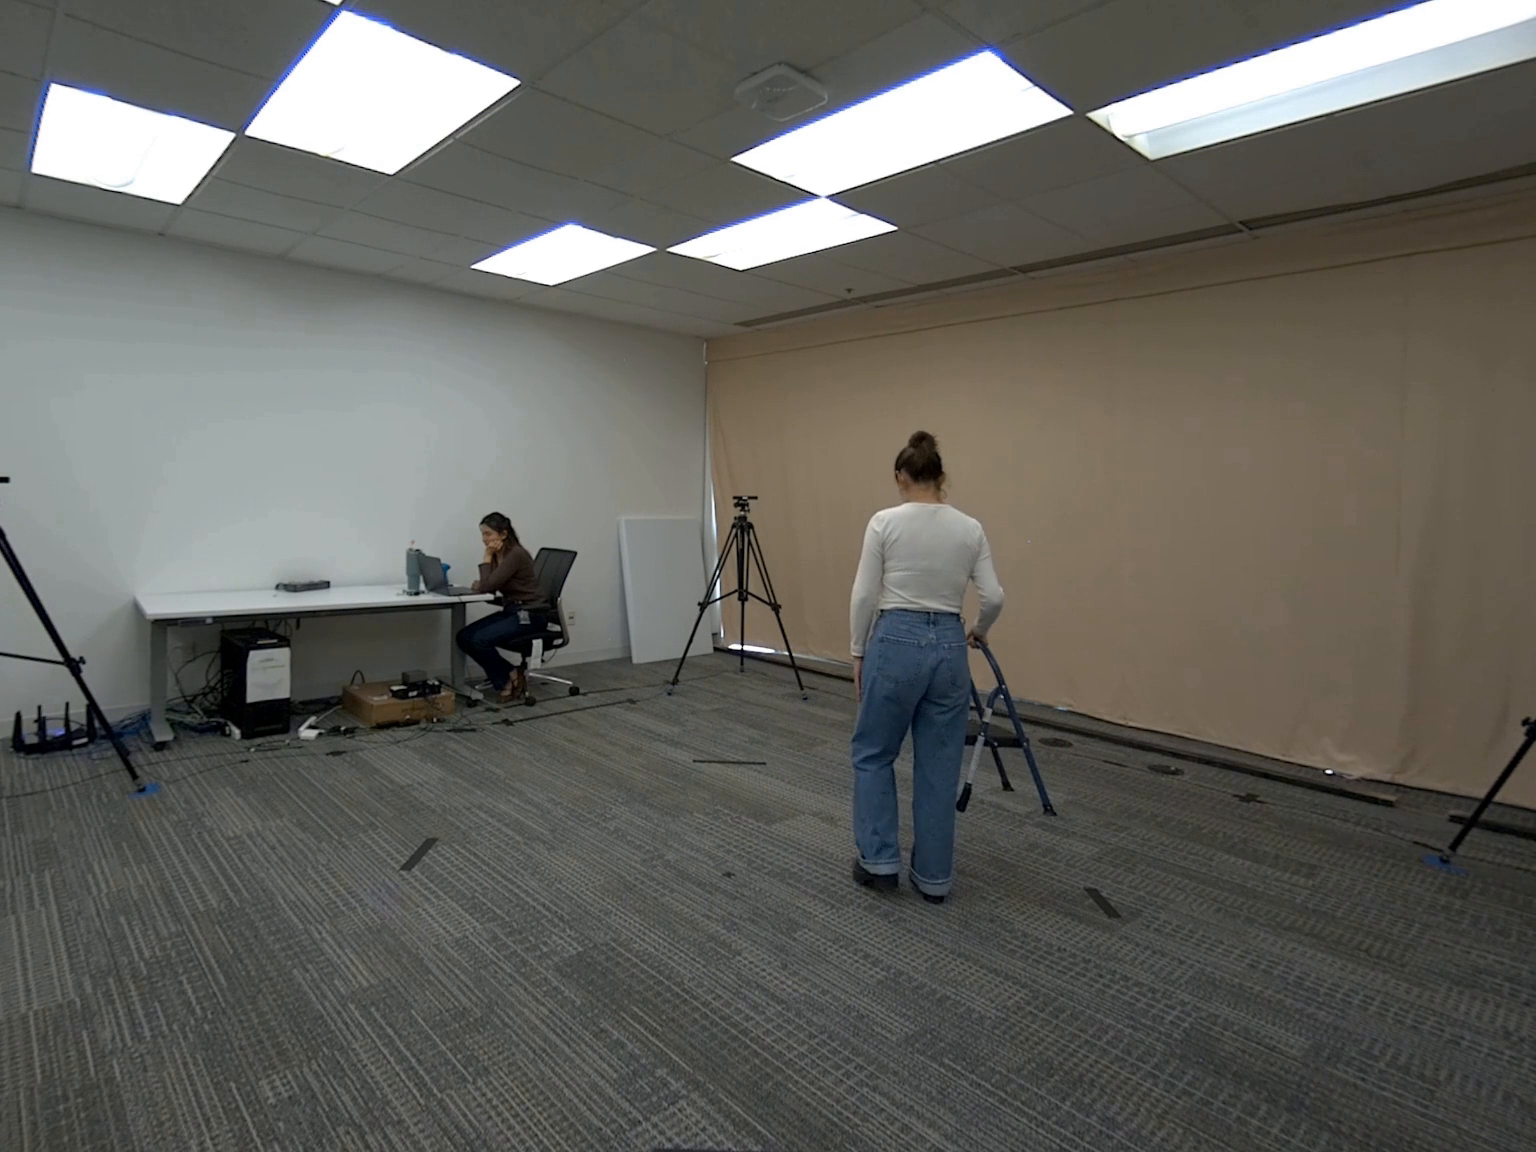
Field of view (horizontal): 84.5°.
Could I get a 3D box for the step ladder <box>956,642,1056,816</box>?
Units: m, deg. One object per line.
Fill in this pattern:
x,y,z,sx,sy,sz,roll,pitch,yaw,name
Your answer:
0.822,0.543,3.172,0.348,0.608,0.430,2,-4,-4,step ladder
